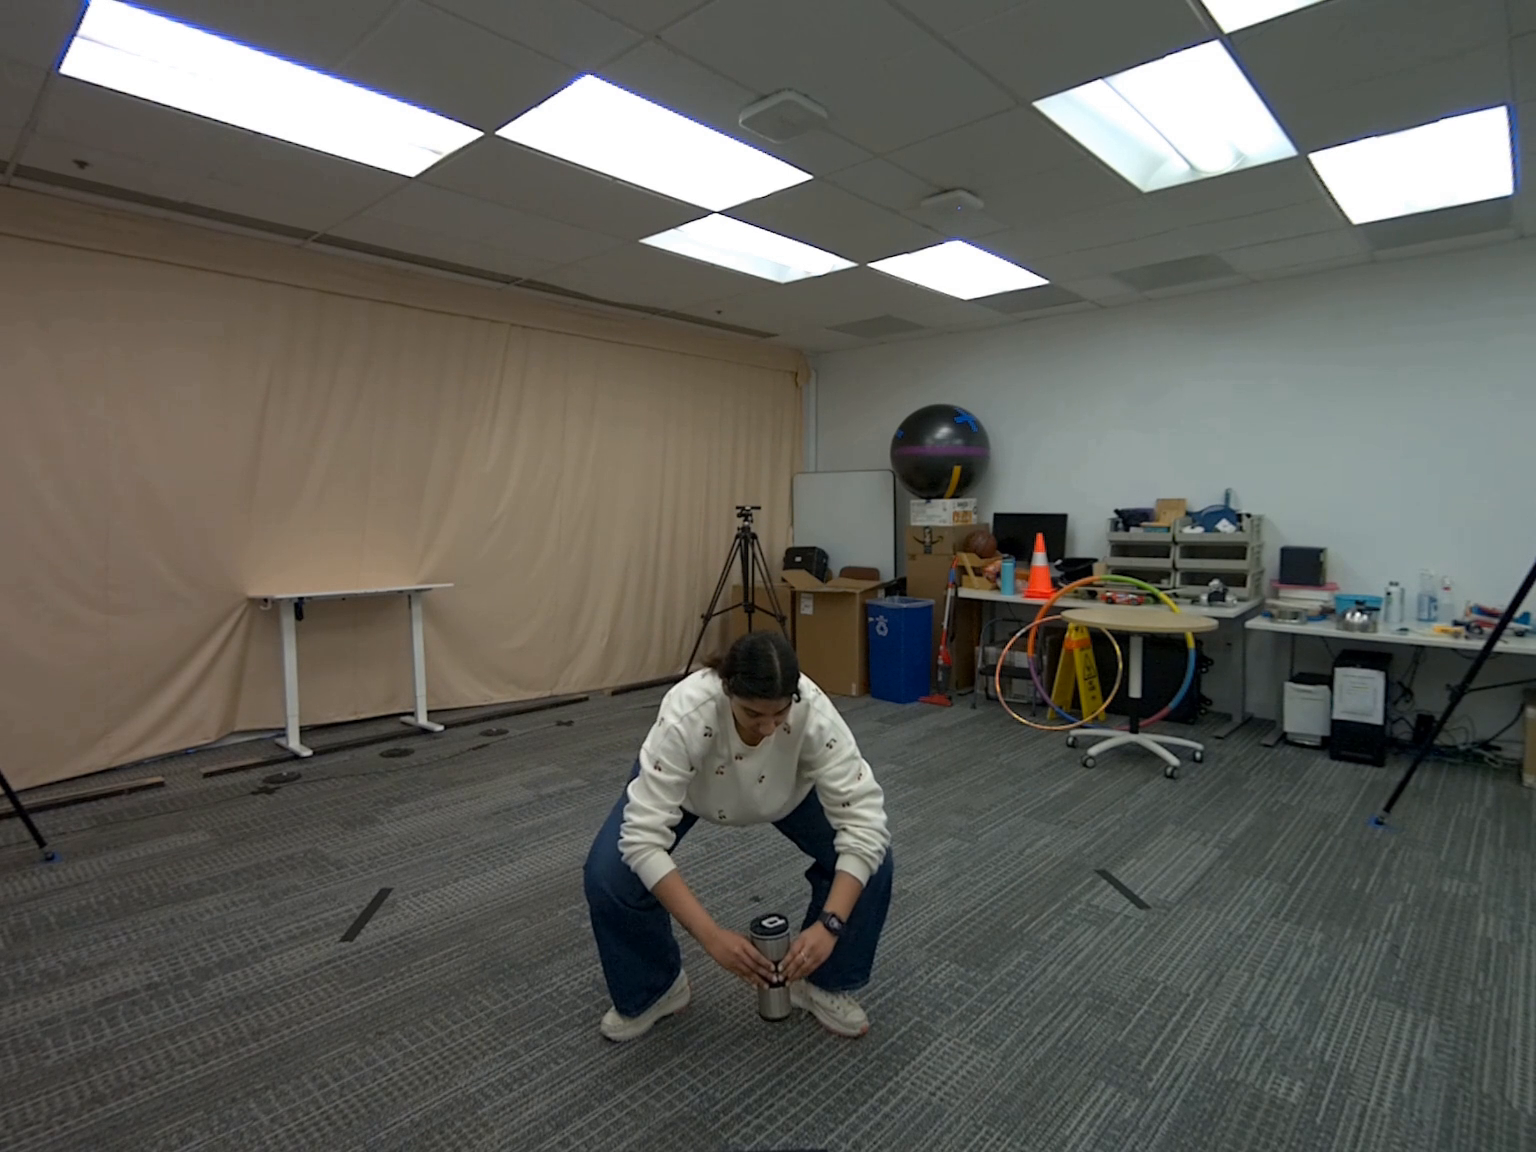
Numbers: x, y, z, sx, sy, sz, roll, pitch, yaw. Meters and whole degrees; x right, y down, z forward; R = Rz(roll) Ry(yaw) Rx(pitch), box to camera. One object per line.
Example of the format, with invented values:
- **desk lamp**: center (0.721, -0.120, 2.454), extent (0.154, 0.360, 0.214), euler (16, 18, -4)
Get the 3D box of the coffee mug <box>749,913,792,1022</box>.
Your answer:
- **coffee mug**: center (-0.001, 0.864, 1.838), extent (0.118, 0.203, 0.090), euler (8, -7, -45)
